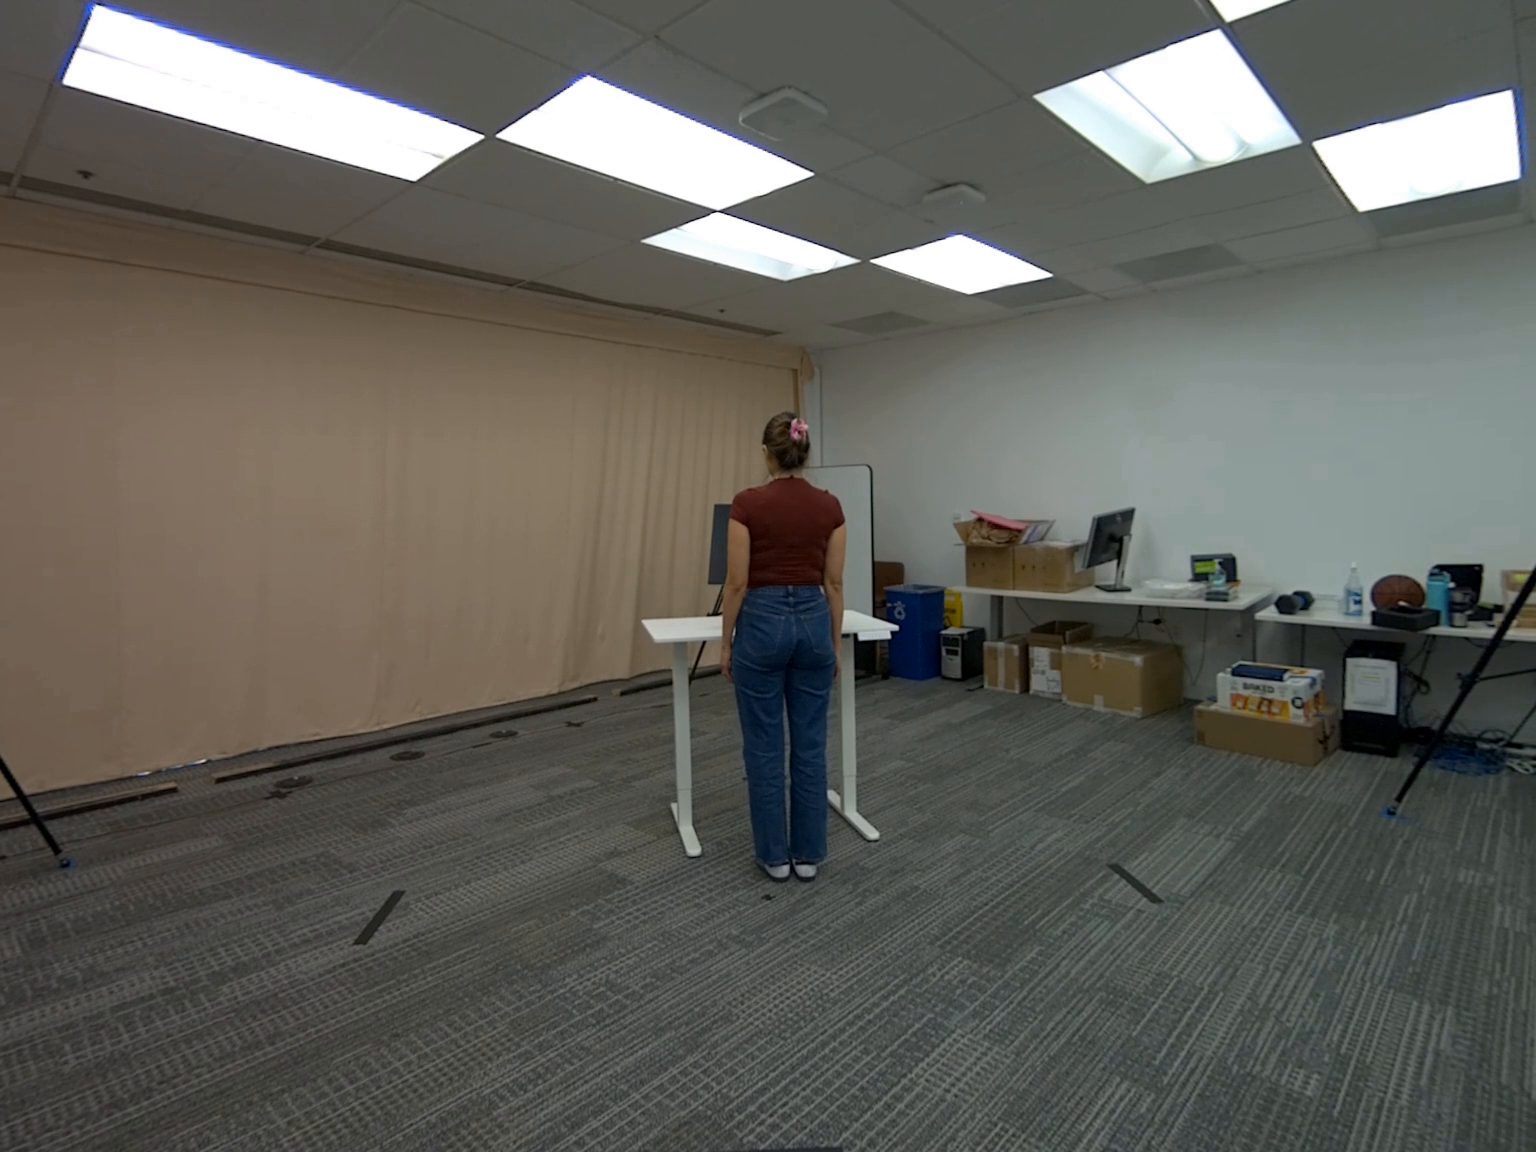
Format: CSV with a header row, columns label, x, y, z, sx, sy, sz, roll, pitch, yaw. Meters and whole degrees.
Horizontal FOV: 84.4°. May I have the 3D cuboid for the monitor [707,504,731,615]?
label,x,y,z,sx,sy,sz,roll,pitch,yaw
monitor,0.038,-0.041,3.508,0.547,0.523,0.184,1,-1,14
